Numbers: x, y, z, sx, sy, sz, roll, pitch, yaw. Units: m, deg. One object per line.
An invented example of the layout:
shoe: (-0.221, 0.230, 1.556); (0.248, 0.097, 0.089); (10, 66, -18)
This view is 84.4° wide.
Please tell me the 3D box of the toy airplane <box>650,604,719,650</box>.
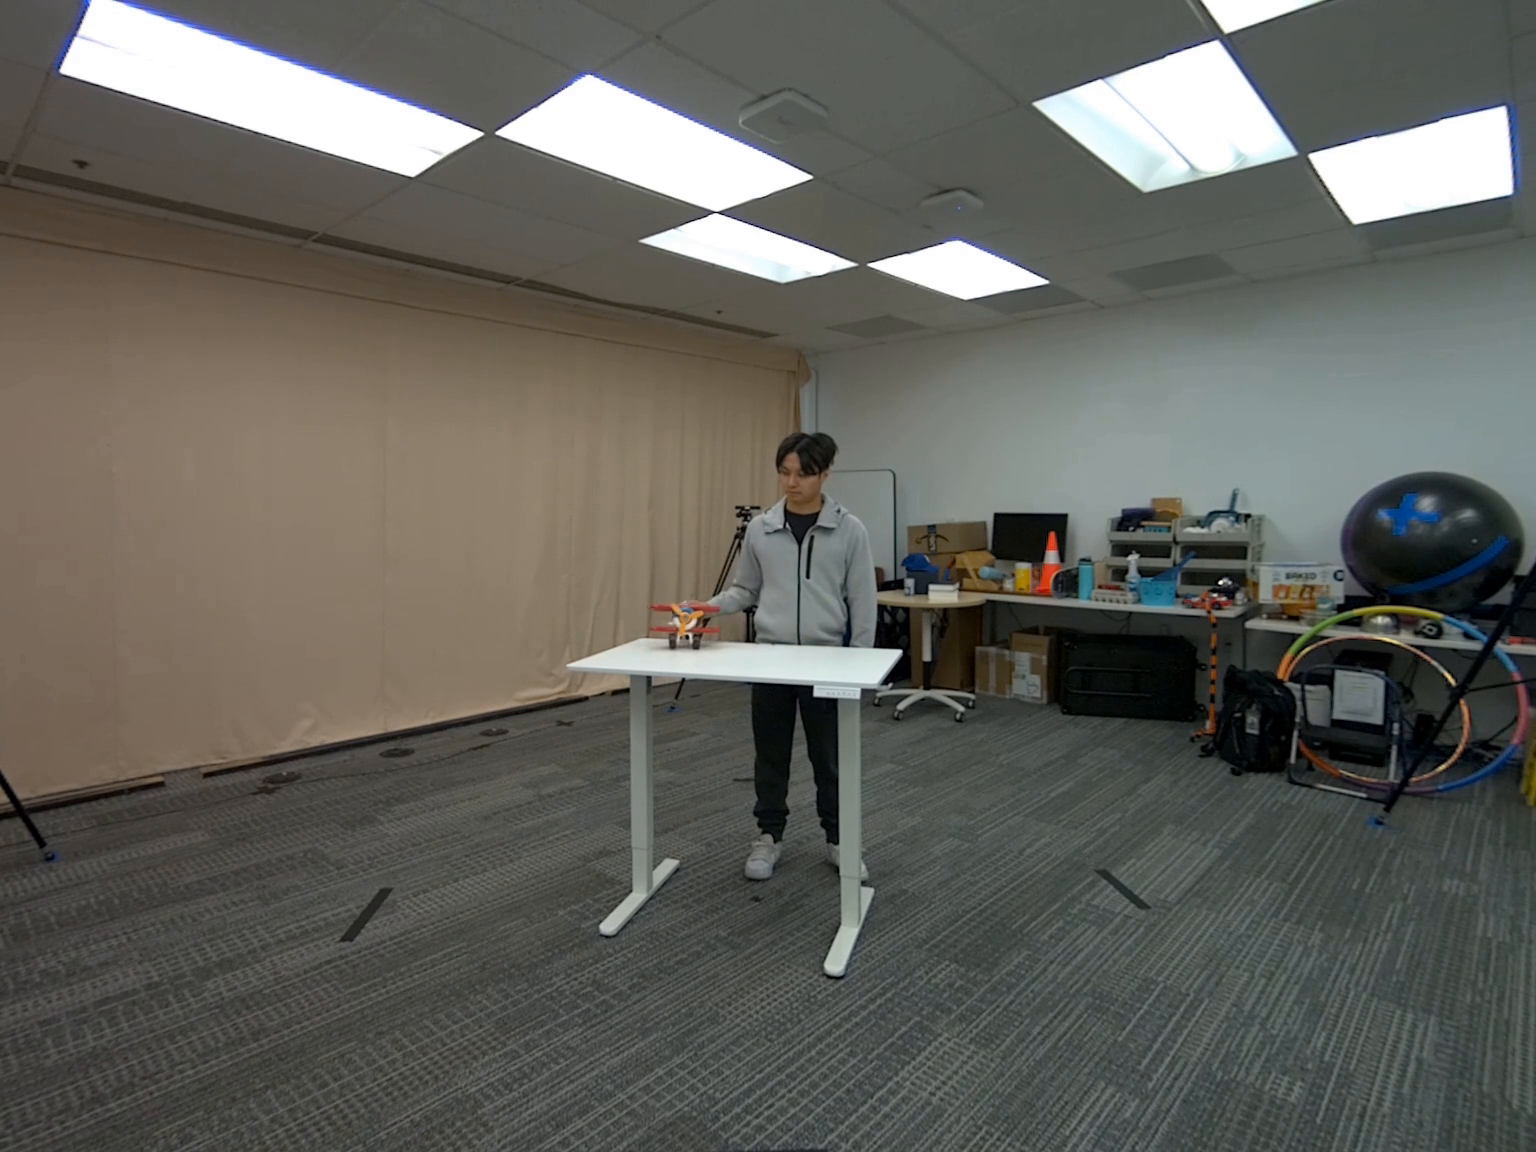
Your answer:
toy airplane: (-0.323, 0.173, 3.085); (0.244, 0.156, 0.268); (-1, 8, -34)
